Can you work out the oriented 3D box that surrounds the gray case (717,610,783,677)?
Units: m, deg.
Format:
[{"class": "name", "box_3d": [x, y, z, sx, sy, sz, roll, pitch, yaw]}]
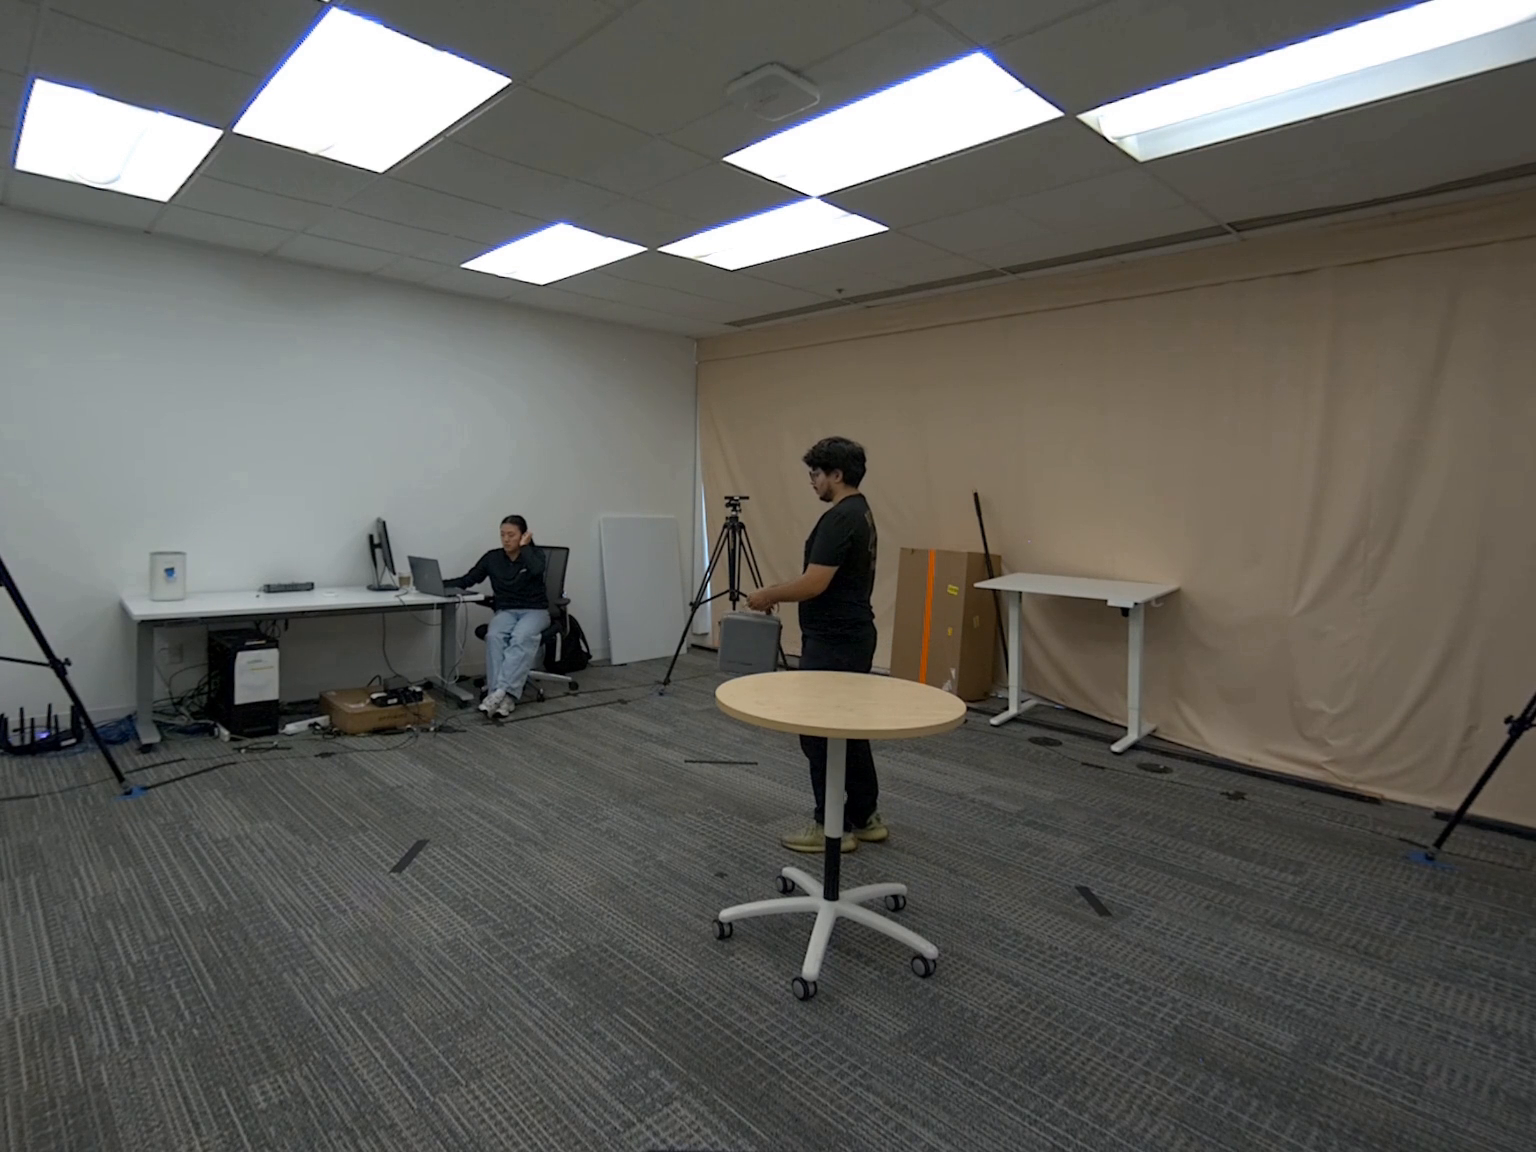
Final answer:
[{"class": "gray case", "box_3d": [-0.082, 0.283, 3.557, 0.259, 0.259, 0.104, 8, 10, 7]}]
